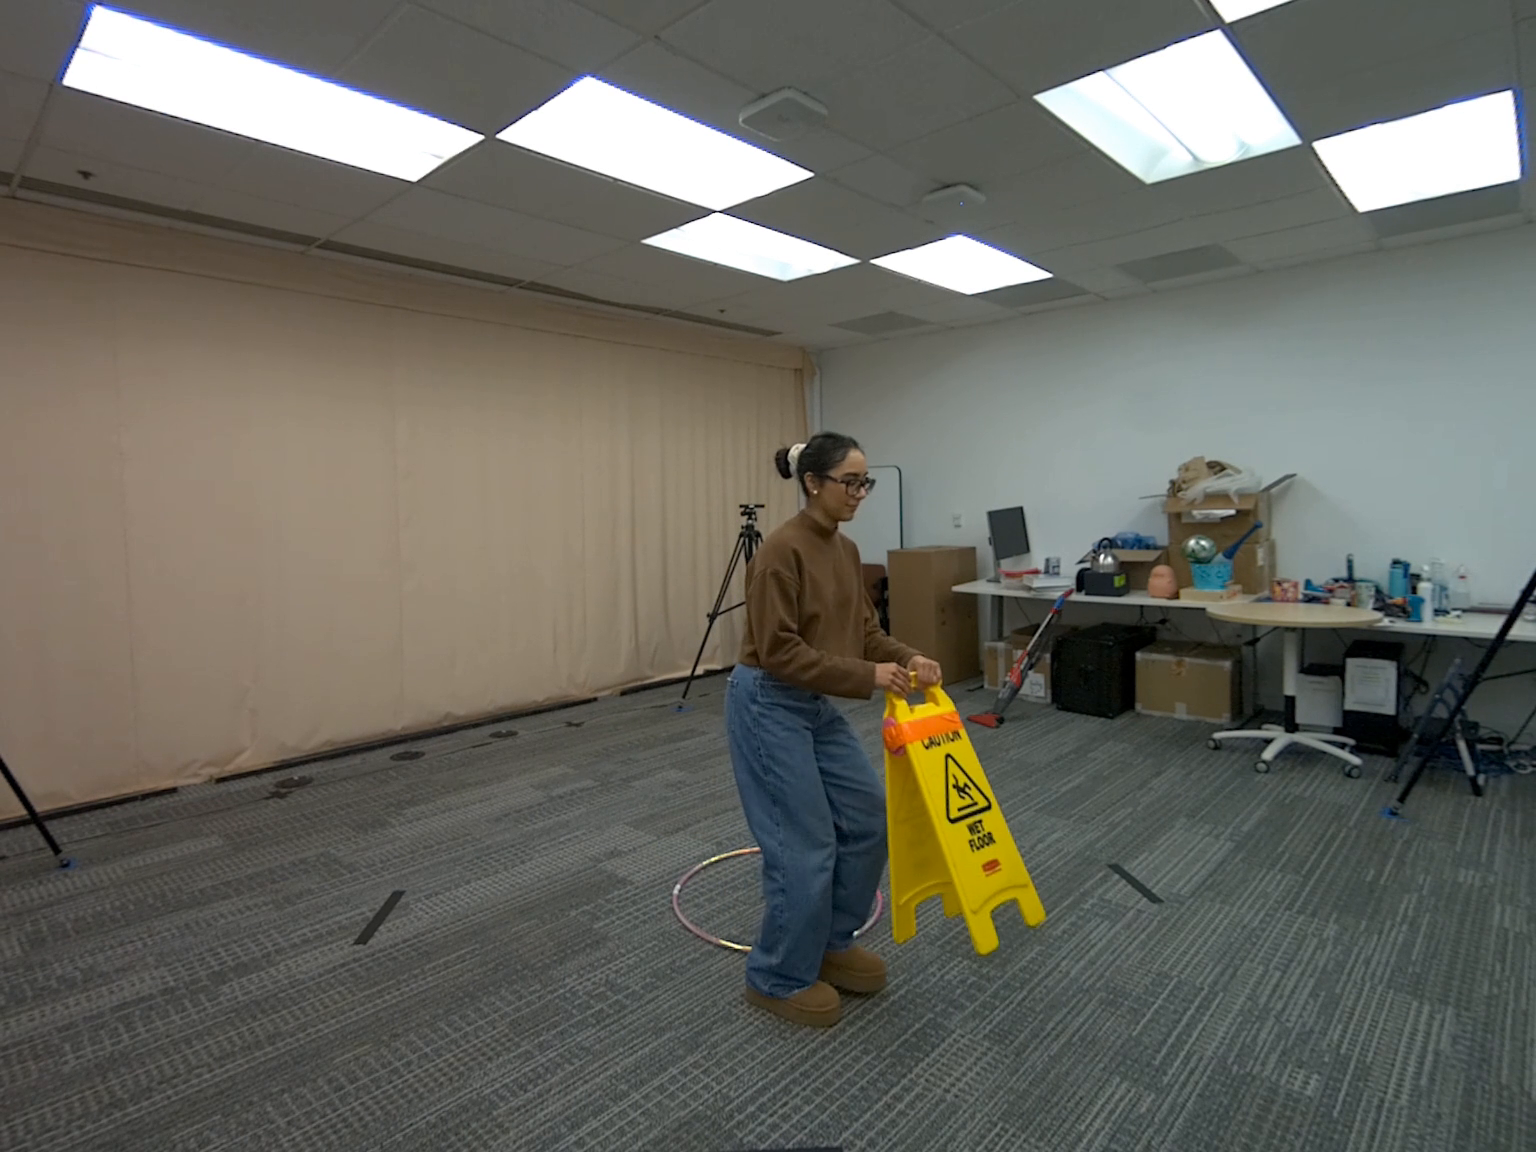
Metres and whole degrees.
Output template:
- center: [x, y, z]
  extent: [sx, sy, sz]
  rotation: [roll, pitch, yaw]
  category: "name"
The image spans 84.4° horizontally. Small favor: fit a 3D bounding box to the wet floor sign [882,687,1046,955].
- center: [0.440, 0.552, 2.173]
  extent: [0.274, 0.650, 0.296]
  rotation: [-4, -10, -39]
  category: "wet floor sign"
